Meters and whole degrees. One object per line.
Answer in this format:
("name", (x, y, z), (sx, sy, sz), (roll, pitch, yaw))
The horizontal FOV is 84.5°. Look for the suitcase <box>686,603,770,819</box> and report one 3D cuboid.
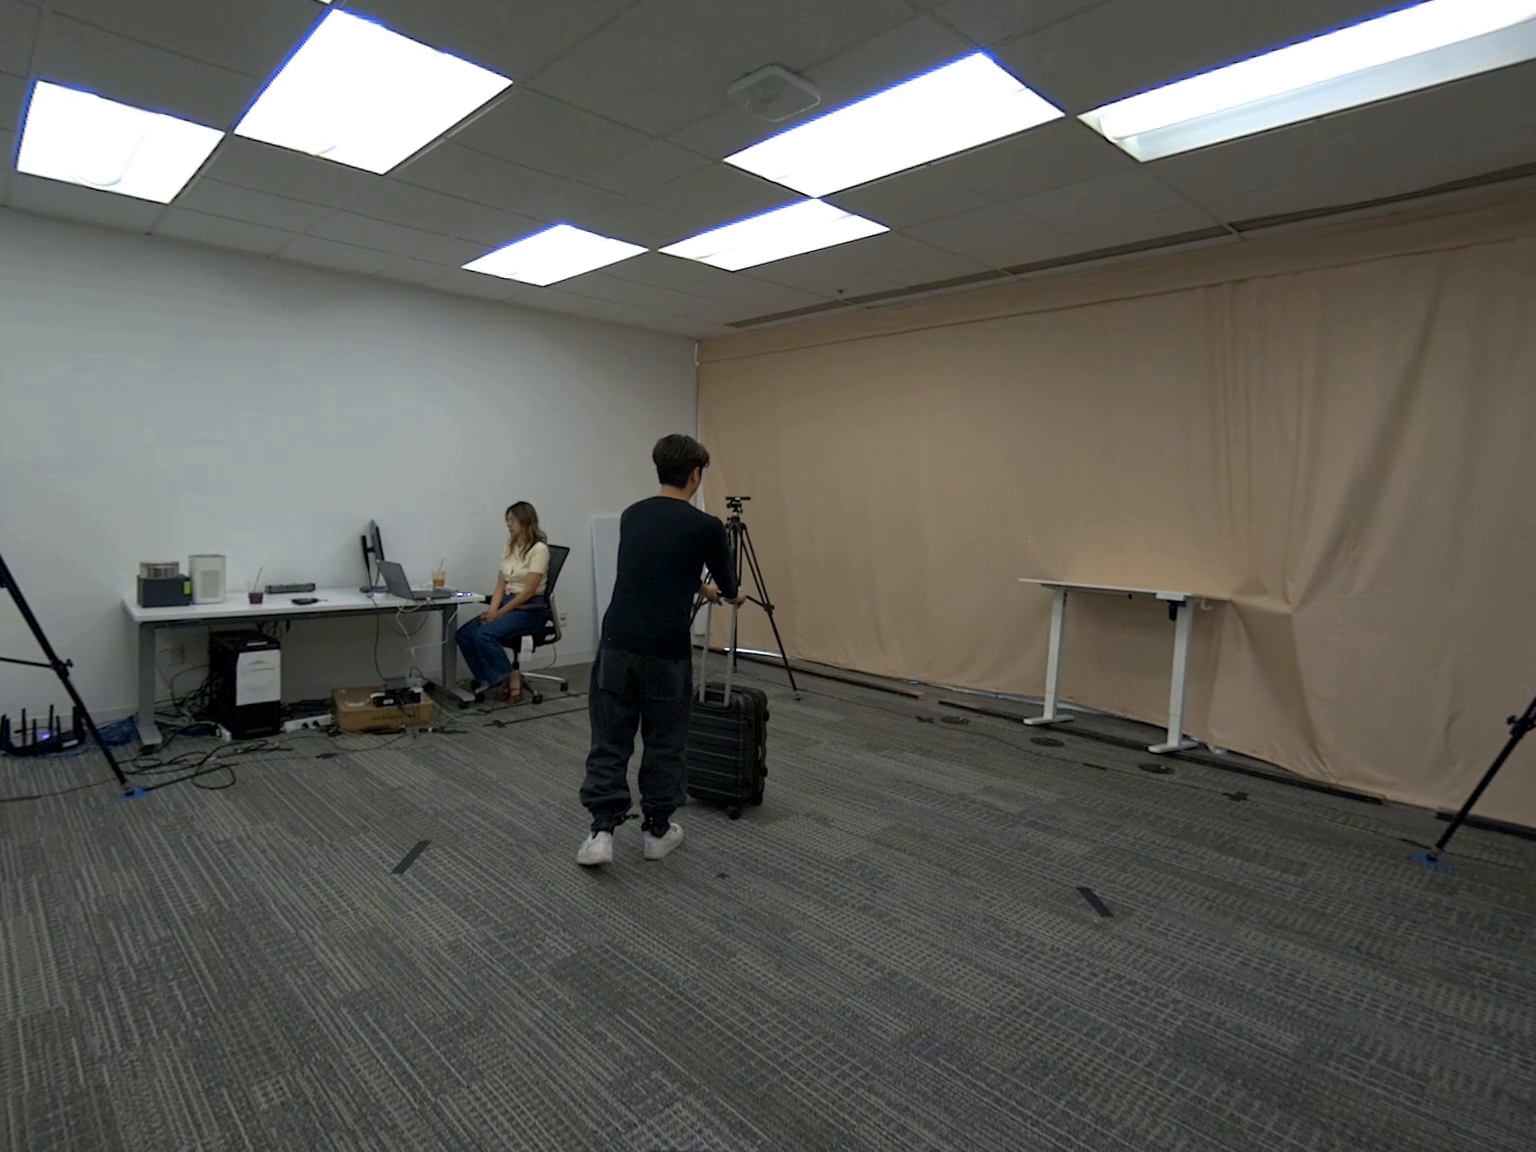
("suitcase", (-0.197, 0.567, 3.834), (0.392, 0.977, 0.252), (5, 2, 28))
